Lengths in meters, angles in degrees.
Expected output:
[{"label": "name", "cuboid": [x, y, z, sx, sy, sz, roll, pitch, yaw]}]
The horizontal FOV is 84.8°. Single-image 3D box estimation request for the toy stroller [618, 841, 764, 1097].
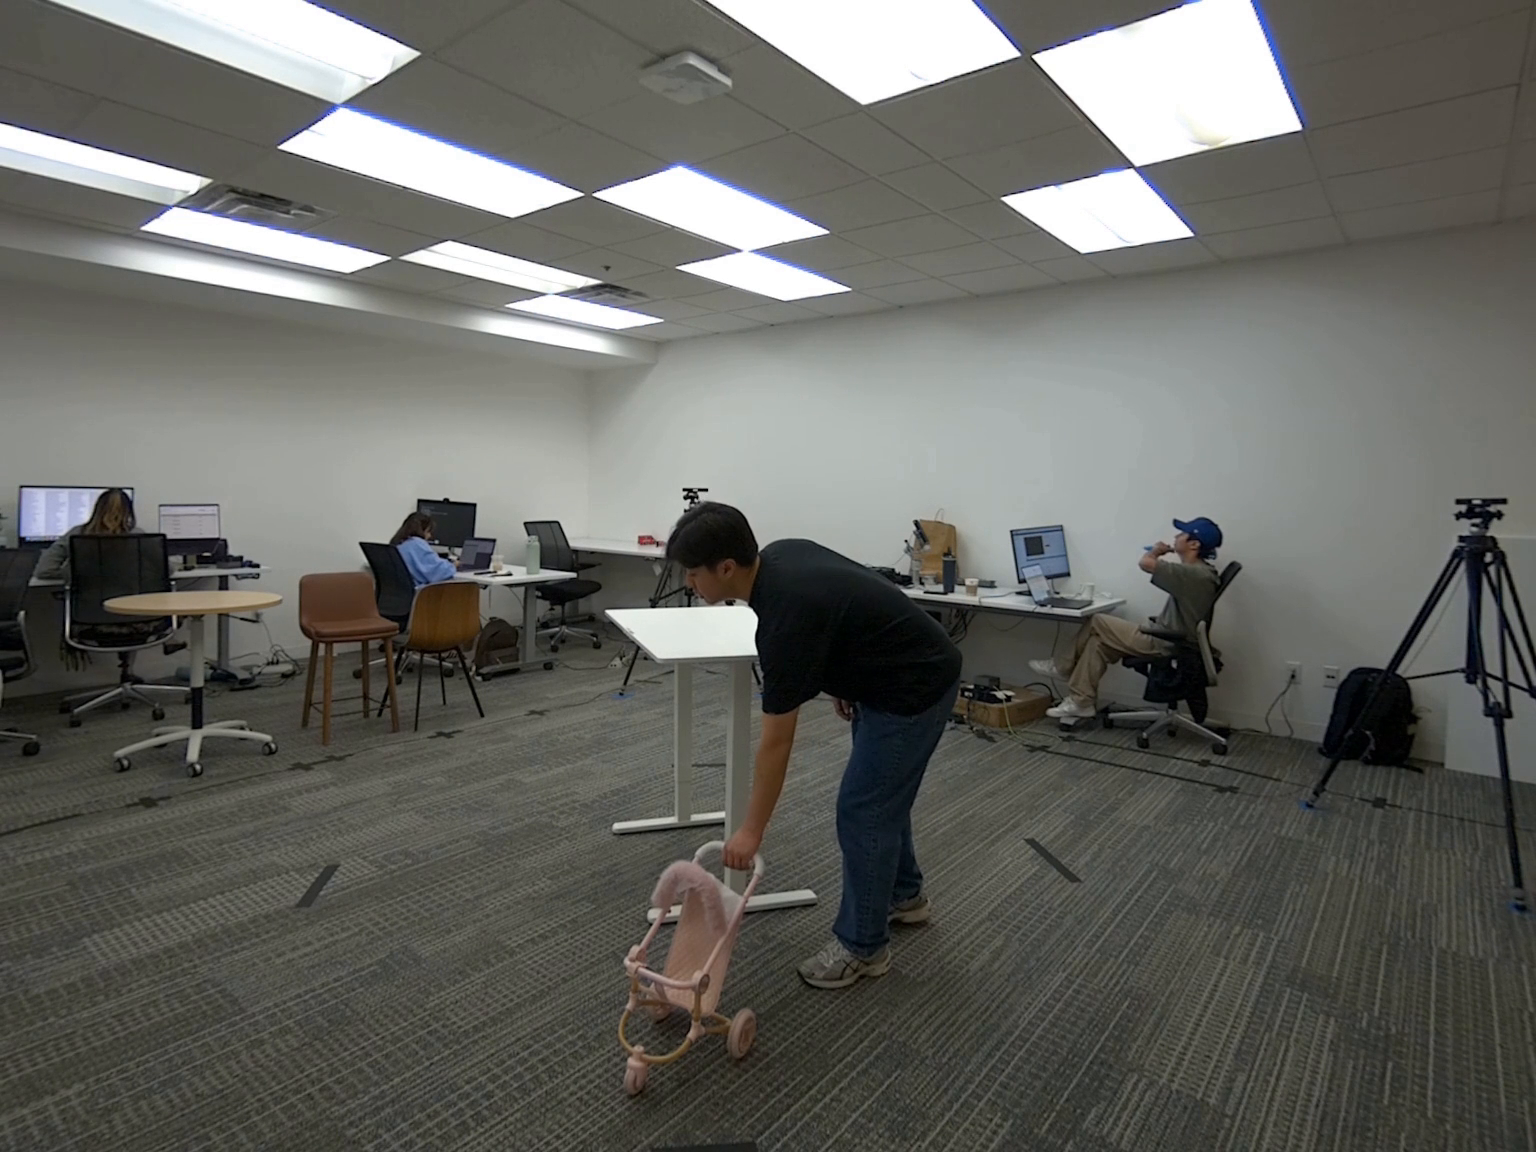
[{"label": "toy stroller", "cuboid": [-0.204, 0.954, 2.078, 0.290, 0.539, 0.328, 1, -12, 32]}]
